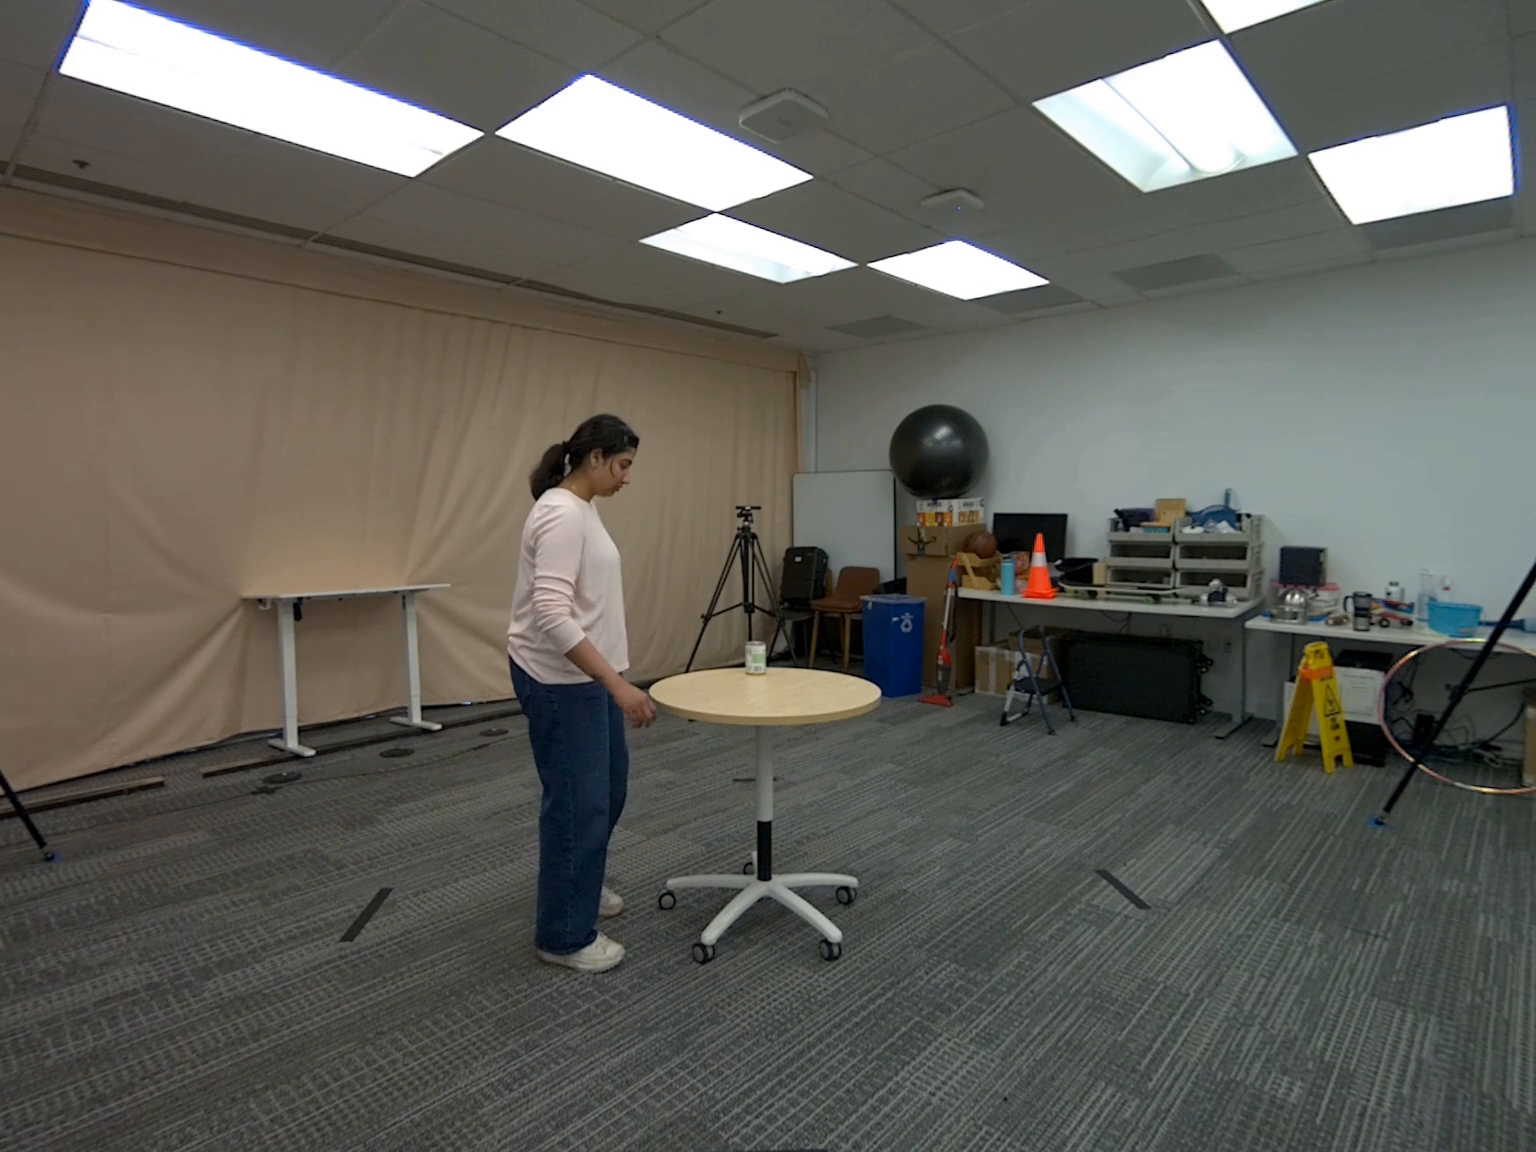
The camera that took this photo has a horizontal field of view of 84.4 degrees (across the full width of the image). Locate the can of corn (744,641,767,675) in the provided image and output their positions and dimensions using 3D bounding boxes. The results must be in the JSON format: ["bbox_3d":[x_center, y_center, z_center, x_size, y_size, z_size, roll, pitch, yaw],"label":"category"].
[{"bbox_3d":[-0.041,0.304,3.061,0.074,0.111,0.074,-1,1,-2],"label":"can of corn"}]
